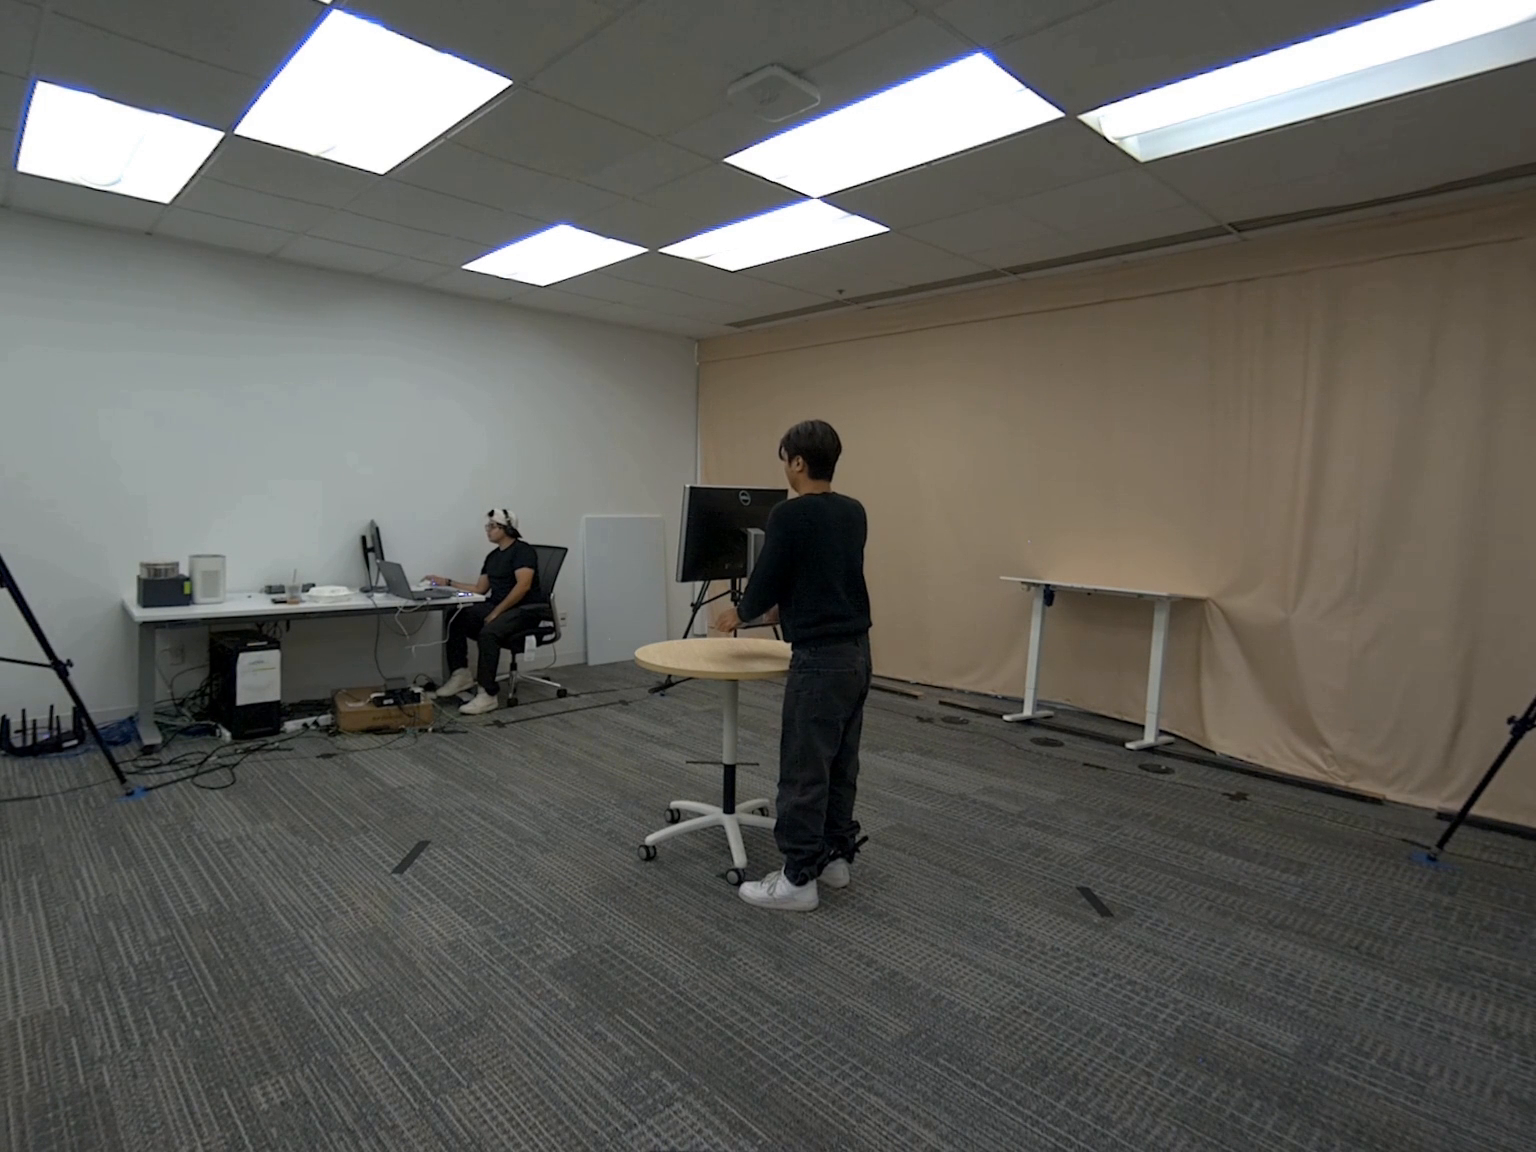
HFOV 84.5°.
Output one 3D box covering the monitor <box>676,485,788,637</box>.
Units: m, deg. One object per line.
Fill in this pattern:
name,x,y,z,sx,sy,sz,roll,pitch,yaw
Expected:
monitor,-0.101,-0.077,3.251,0.191,0.523,0.527,-4,0,41
